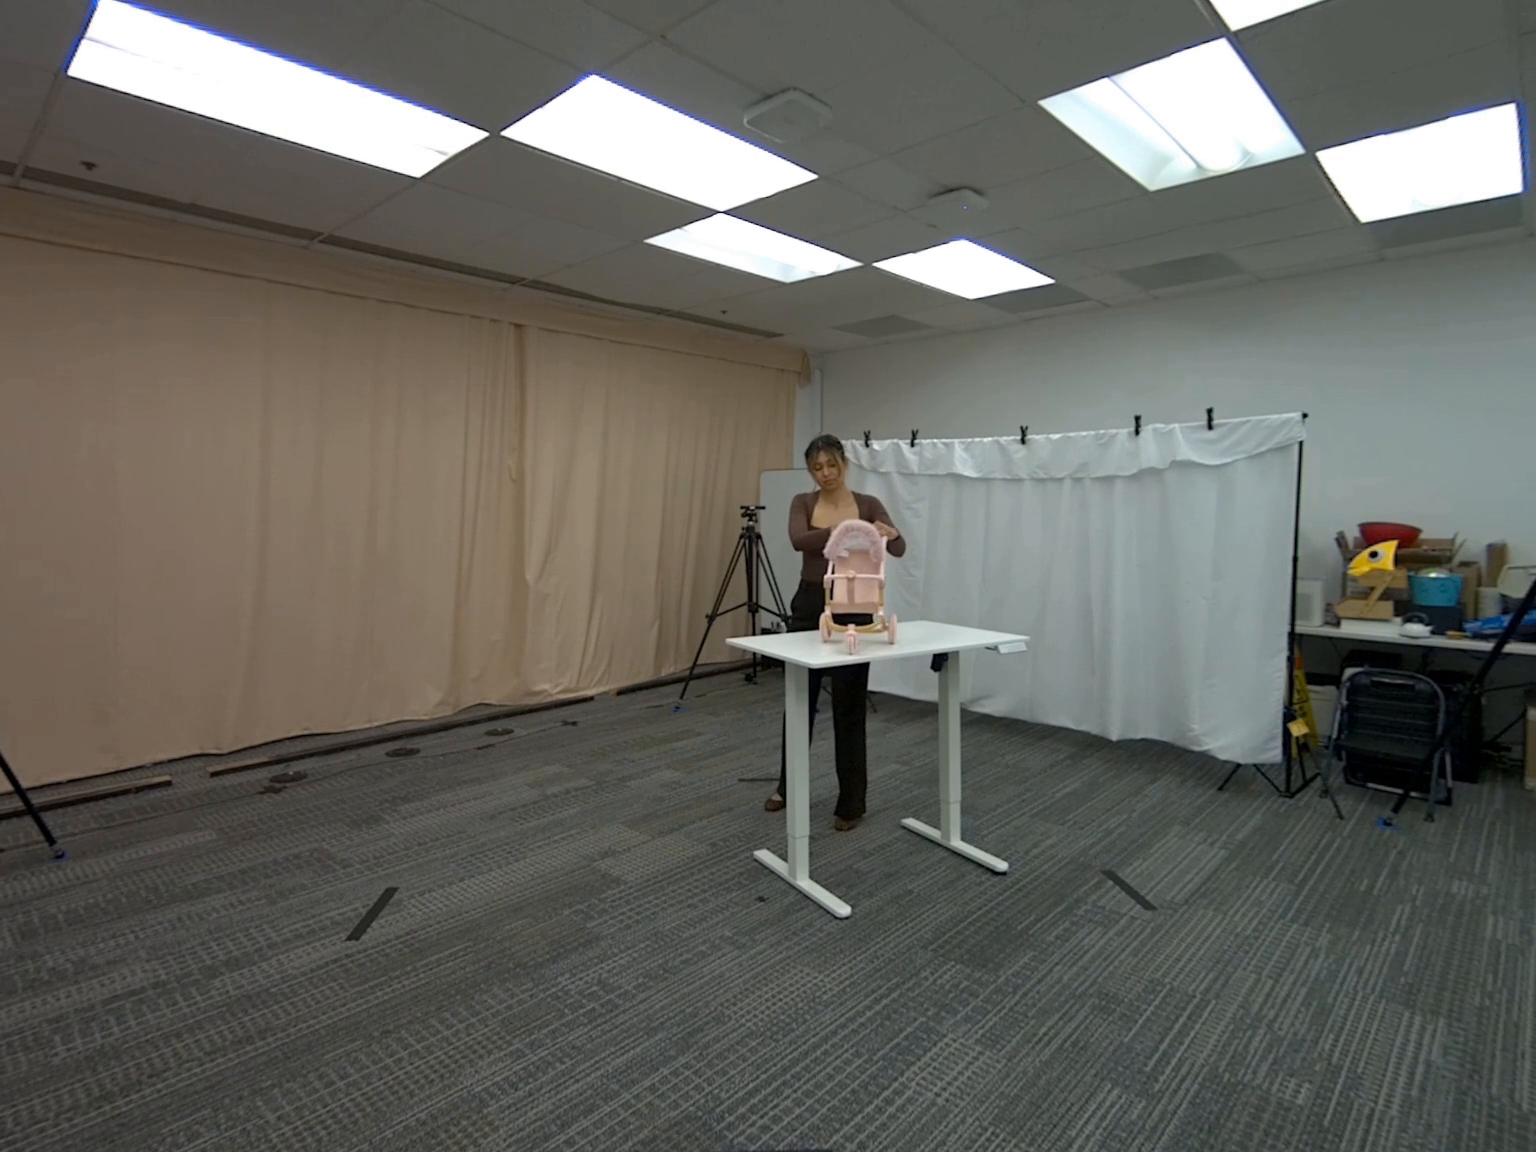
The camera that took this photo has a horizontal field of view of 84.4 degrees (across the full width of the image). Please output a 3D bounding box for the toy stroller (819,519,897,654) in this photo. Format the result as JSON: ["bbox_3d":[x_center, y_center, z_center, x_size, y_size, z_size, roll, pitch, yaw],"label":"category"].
[{"bbox_3d":[0.315,0.032,3.070,0.287,0.539,0.332,-1,-14,17],"label":"toy stroller"}]
